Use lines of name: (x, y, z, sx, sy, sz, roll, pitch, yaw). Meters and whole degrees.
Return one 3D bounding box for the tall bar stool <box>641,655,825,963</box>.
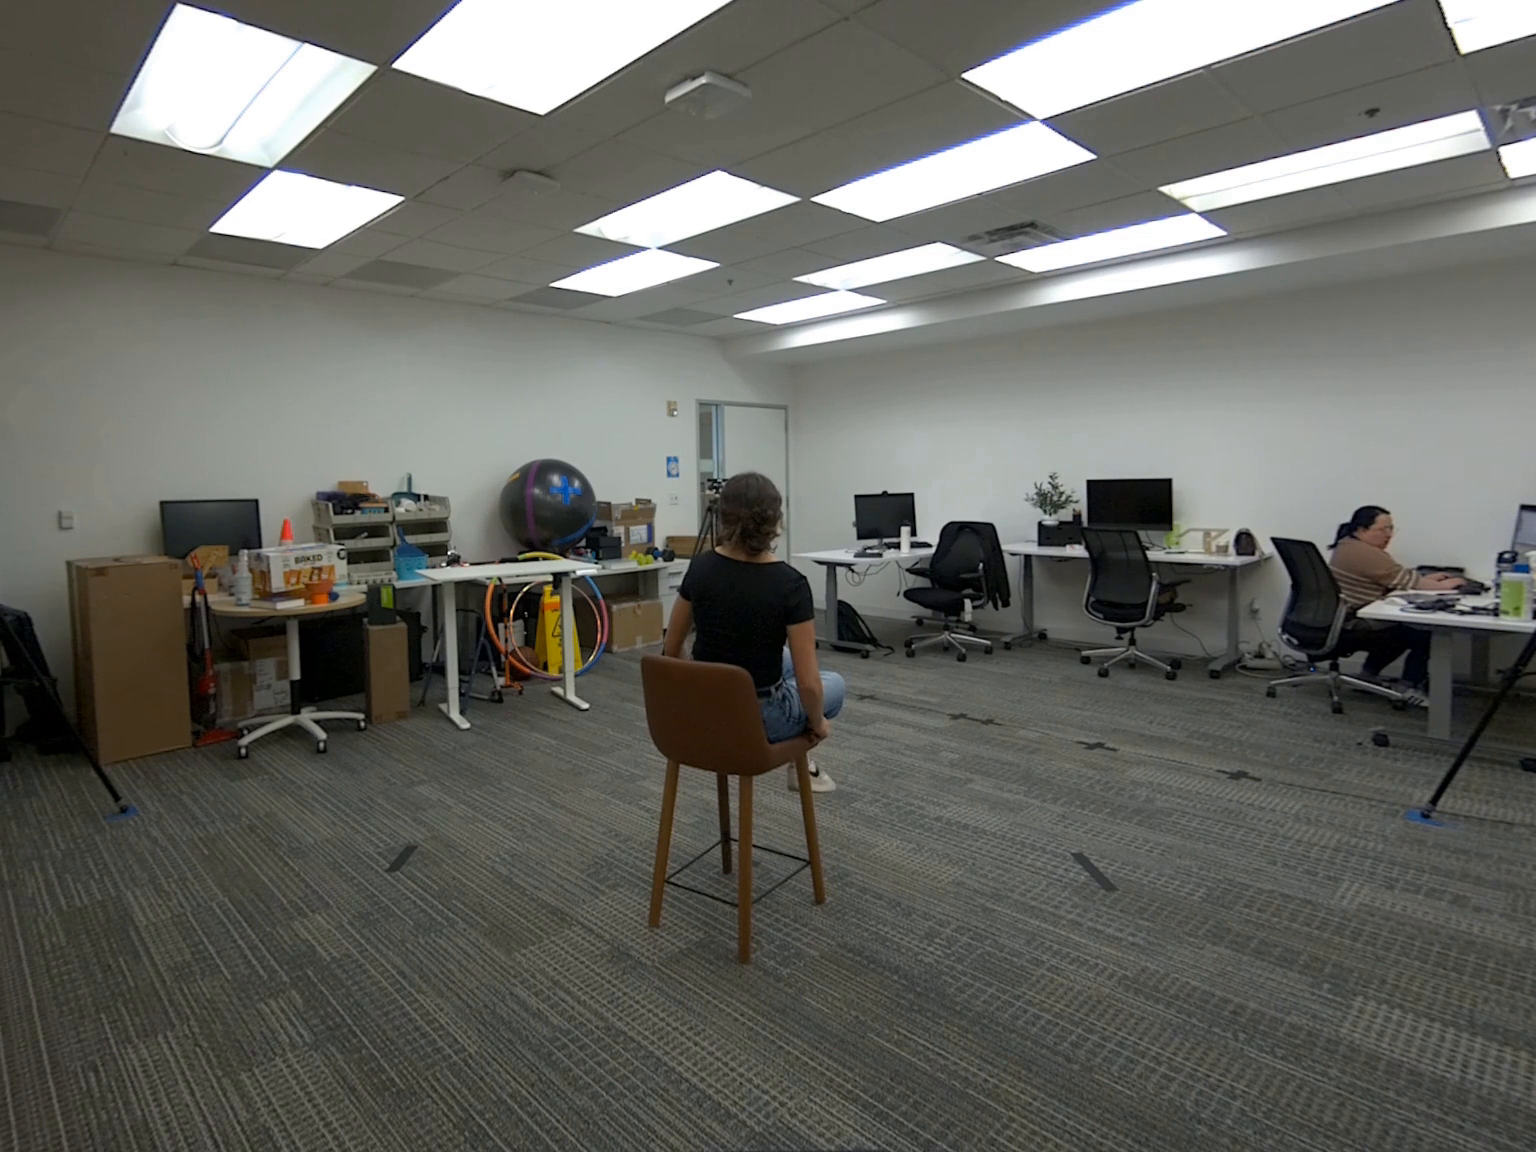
tall bar stool: (-0.113, 0.658, 2.716, 0.469, 0.885, 0.457, 2, 7, 35)
